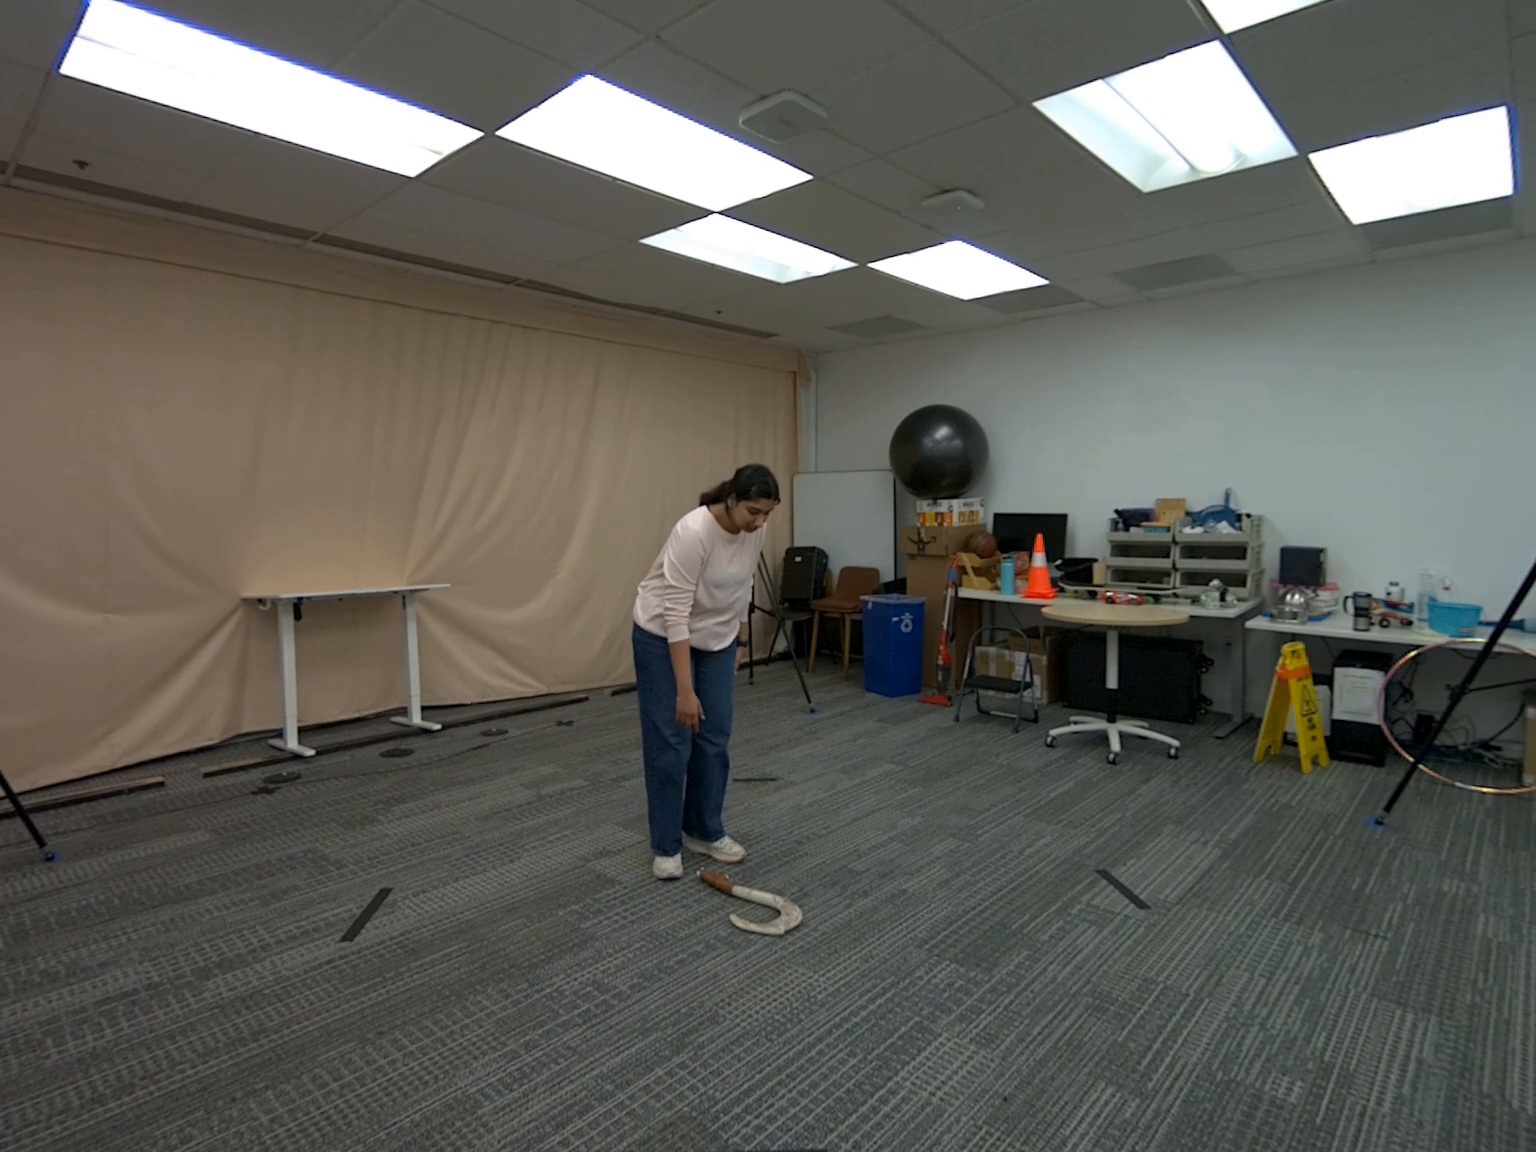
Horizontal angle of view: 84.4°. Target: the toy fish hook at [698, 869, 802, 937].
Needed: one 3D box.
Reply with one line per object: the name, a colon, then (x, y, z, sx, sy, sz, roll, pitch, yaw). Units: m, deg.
toy fish hook: (-0.106, 1.126, 2.927, 0.217, 0.048, 0.524, -3, 5, -45)
